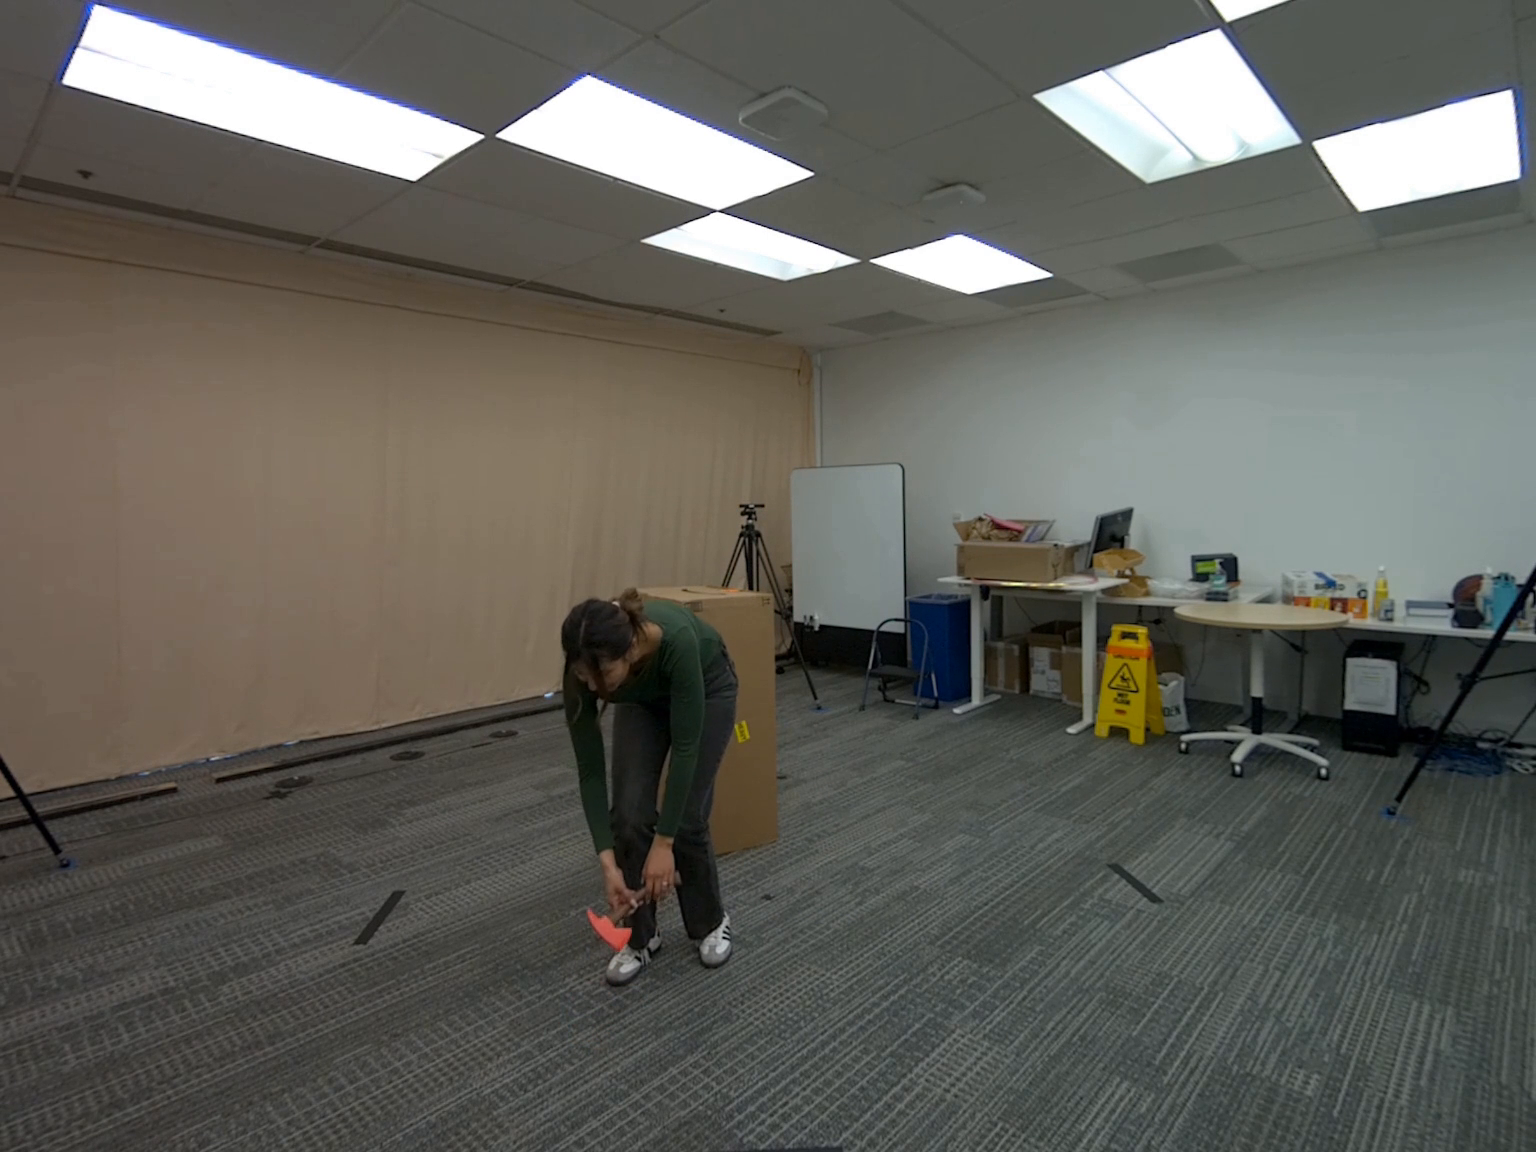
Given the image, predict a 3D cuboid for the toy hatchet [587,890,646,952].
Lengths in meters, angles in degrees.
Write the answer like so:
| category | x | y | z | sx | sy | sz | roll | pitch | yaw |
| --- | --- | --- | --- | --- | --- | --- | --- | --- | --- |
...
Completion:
| category | x | y | z | sx | sy | sz | roll | pitch | yaw |
| --- | --- | --- | --- | --- | --- | --- | --- | --- | --- |
| toy hatchet | -0.328 | 0.910 | 2.248 | 0.264 | 0.029 | 0.135 | -10 | 45 | -23 |
